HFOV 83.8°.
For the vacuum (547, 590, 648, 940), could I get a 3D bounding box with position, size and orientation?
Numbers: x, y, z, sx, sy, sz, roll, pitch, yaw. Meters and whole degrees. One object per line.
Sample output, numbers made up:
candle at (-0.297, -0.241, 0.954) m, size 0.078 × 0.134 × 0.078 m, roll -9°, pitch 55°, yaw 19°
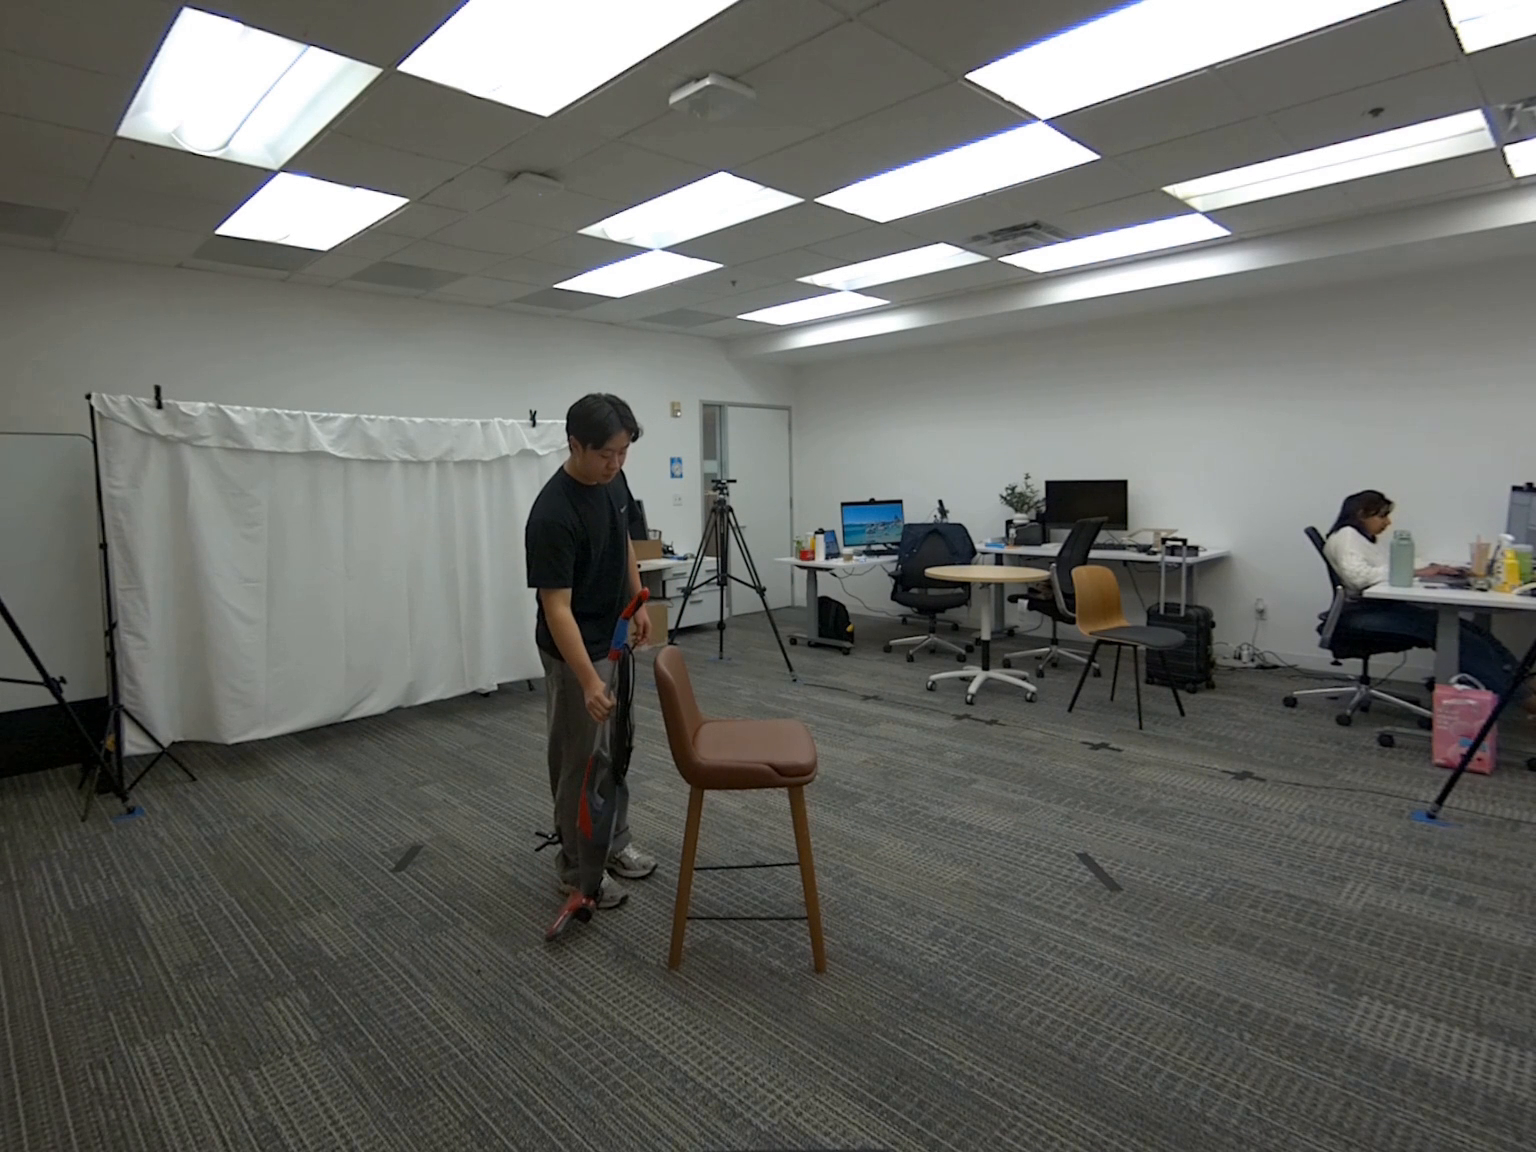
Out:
vacuum at (-0.477, 0.549, 2.578) m, size 0.143 × 1.042 × 0.255 m, roll 13°, pitch 10°, yaw -4°
